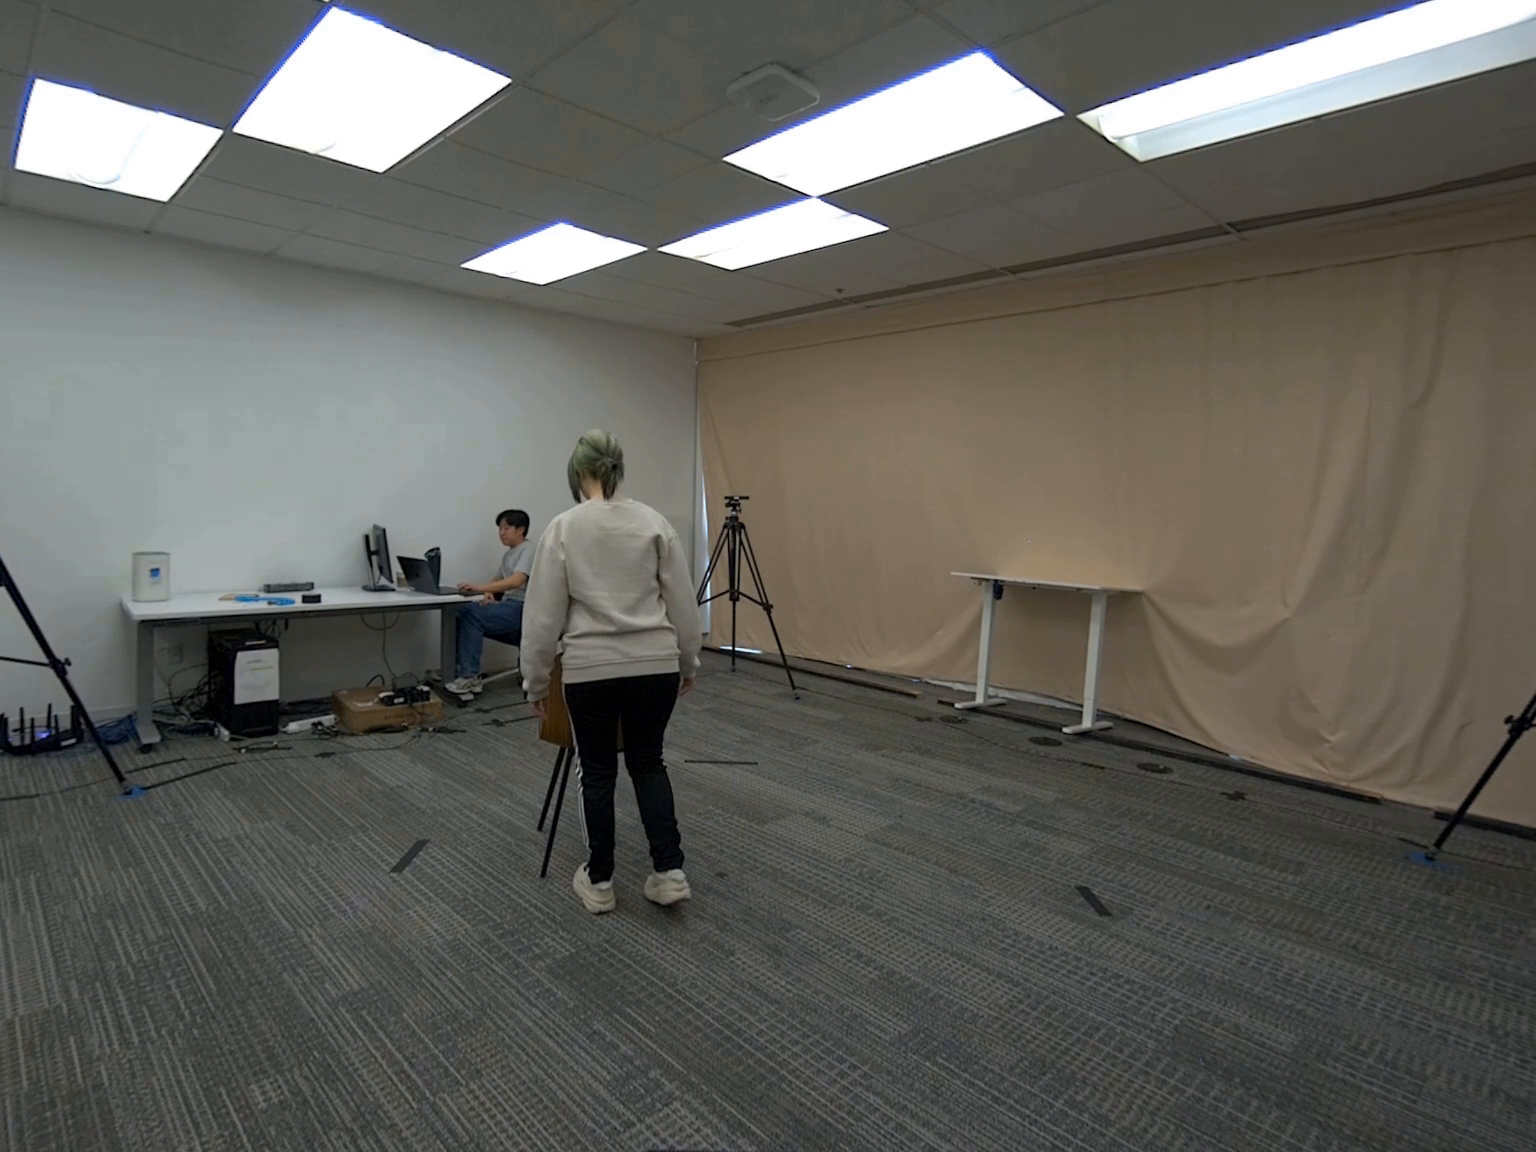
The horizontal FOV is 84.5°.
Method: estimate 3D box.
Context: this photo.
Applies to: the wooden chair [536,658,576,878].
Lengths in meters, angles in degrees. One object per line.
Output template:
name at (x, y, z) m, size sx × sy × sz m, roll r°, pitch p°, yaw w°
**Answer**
wooden chair at (-0.665, 0.651, 3.297) m, size 0.472 × 0.873 × 0.532 m, roll 0°, pitch 8°, yaw -16°
